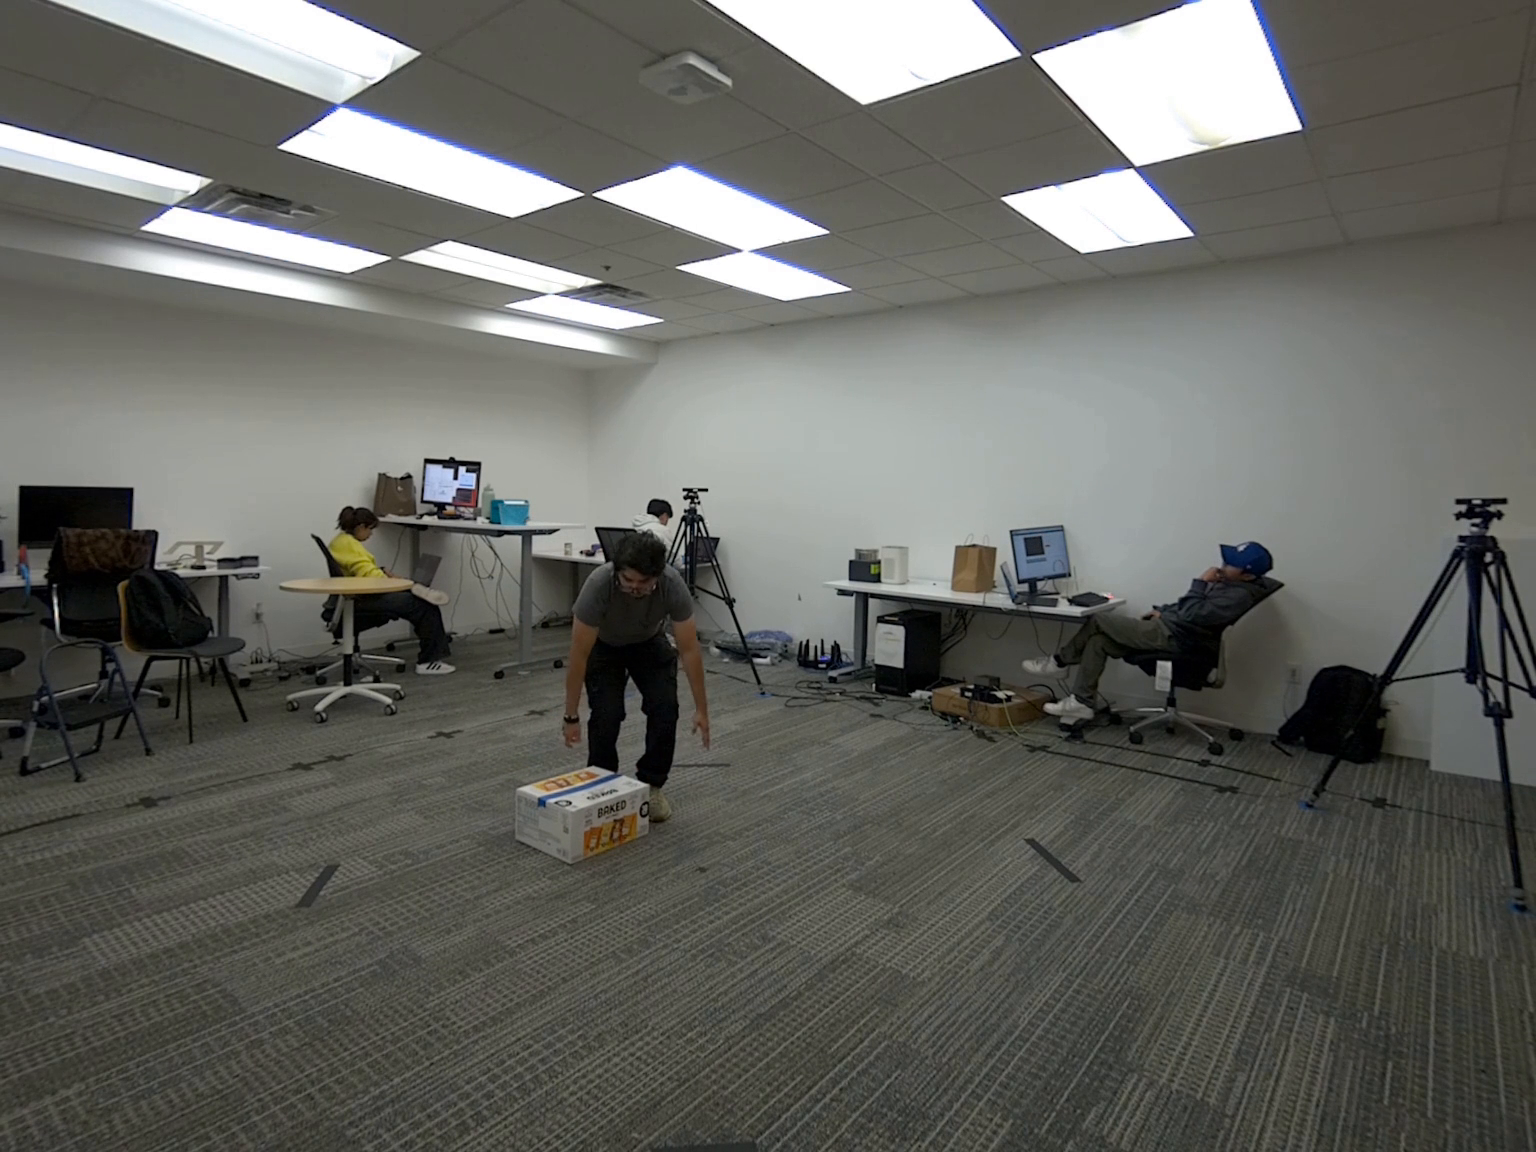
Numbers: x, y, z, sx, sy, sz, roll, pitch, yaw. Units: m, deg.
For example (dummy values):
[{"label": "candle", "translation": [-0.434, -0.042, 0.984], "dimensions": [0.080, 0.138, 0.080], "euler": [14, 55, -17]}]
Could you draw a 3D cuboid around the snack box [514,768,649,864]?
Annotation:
[{"label": "snack box", "translation": [-0.746, 0.936, 3.370], "dimensions": [0.352, 0.205, 0.393], "euler": [5, 6, 38]}]
